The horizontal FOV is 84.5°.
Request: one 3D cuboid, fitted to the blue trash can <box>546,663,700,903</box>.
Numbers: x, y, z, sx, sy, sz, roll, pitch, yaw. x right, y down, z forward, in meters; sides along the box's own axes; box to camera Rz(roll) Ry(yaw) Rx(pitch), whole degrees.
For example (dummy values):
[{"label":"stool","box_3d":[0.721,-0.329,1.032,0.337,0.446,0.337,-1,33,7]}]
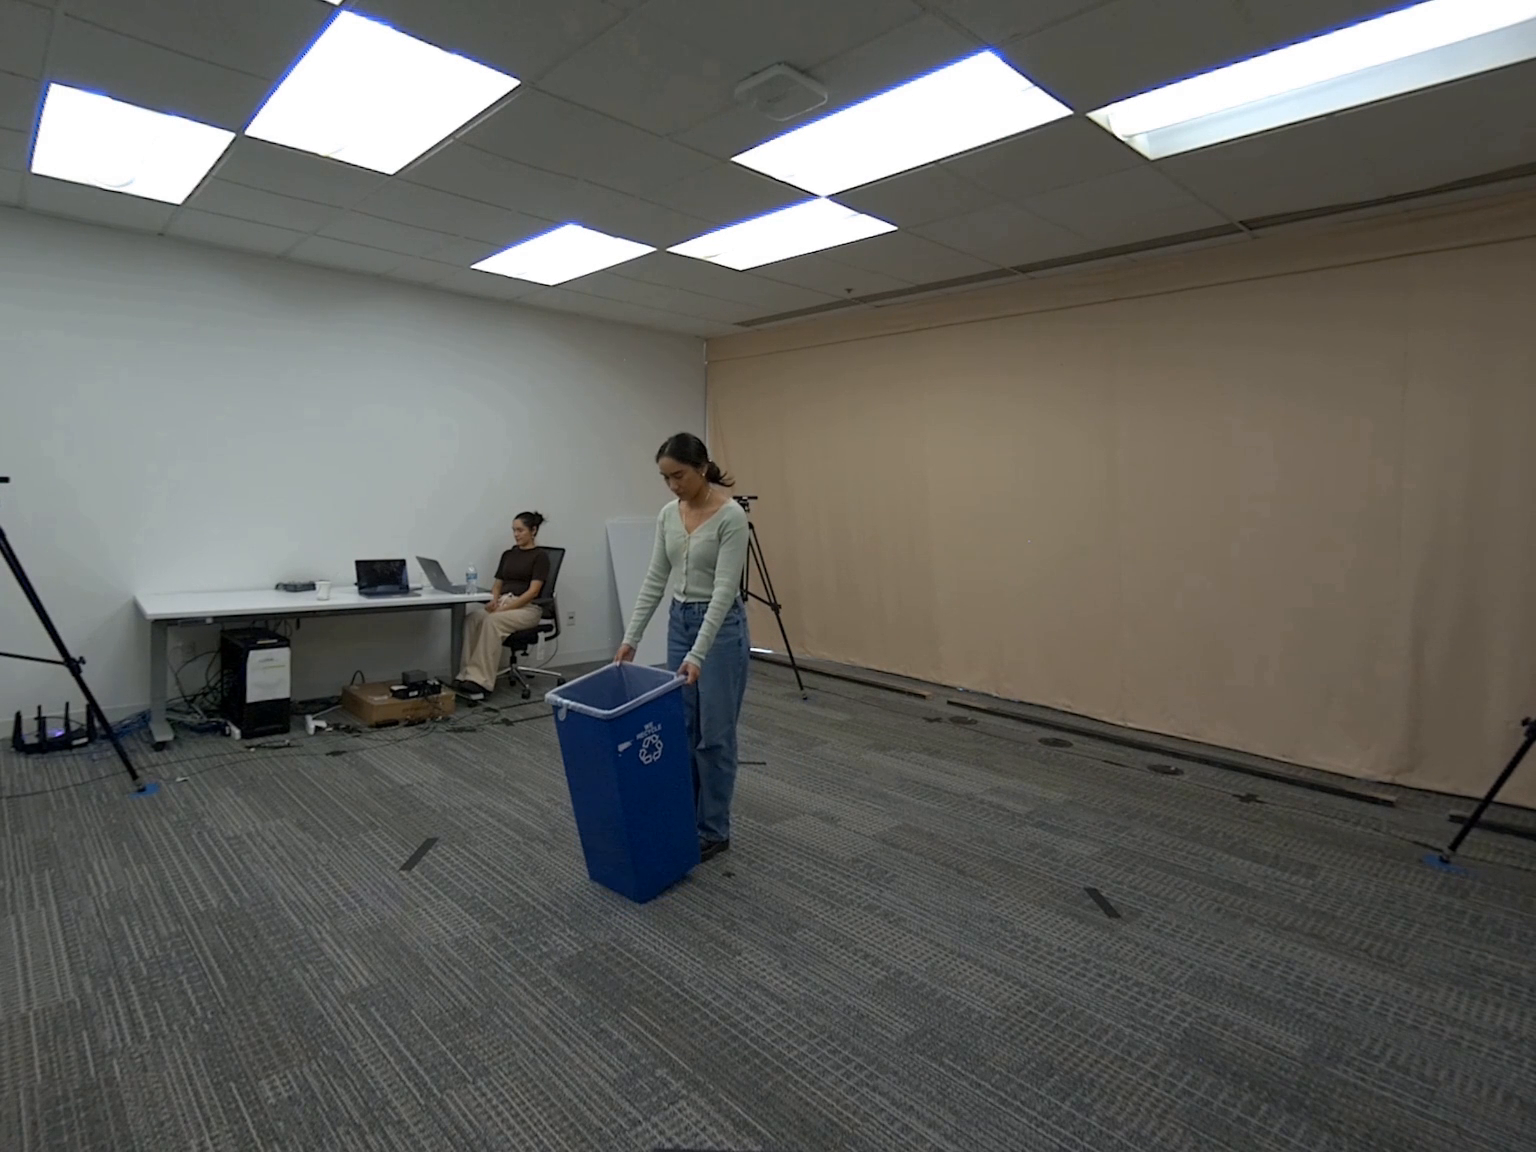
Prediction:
[{"label":"blue trash can","box_3d":[-0.494,0.722,2.995,0.387,0.706,0.368,4,16,40]}]
